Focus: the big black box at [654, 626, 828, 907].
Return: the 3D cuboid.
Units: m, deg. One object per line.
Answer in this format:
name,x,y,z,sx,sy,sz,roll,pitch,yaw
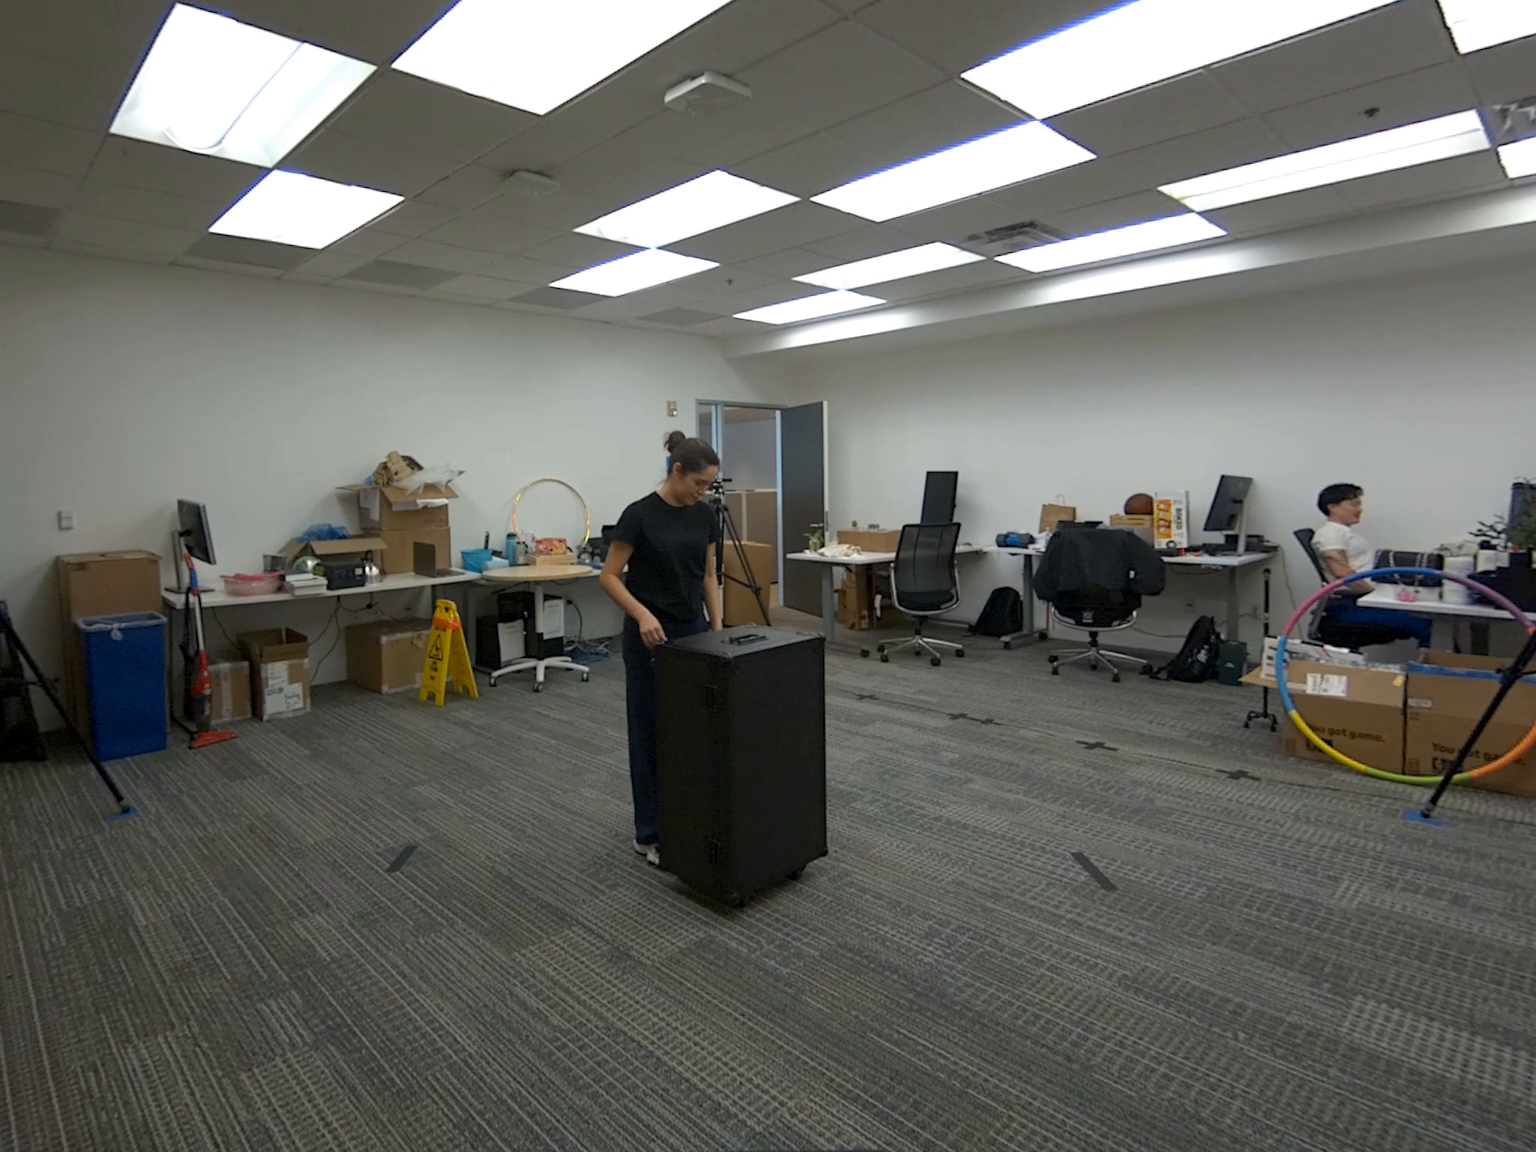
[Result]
big black box,-0.093,0.579,2.956,0.408,0.858,0.507,3,6,44
